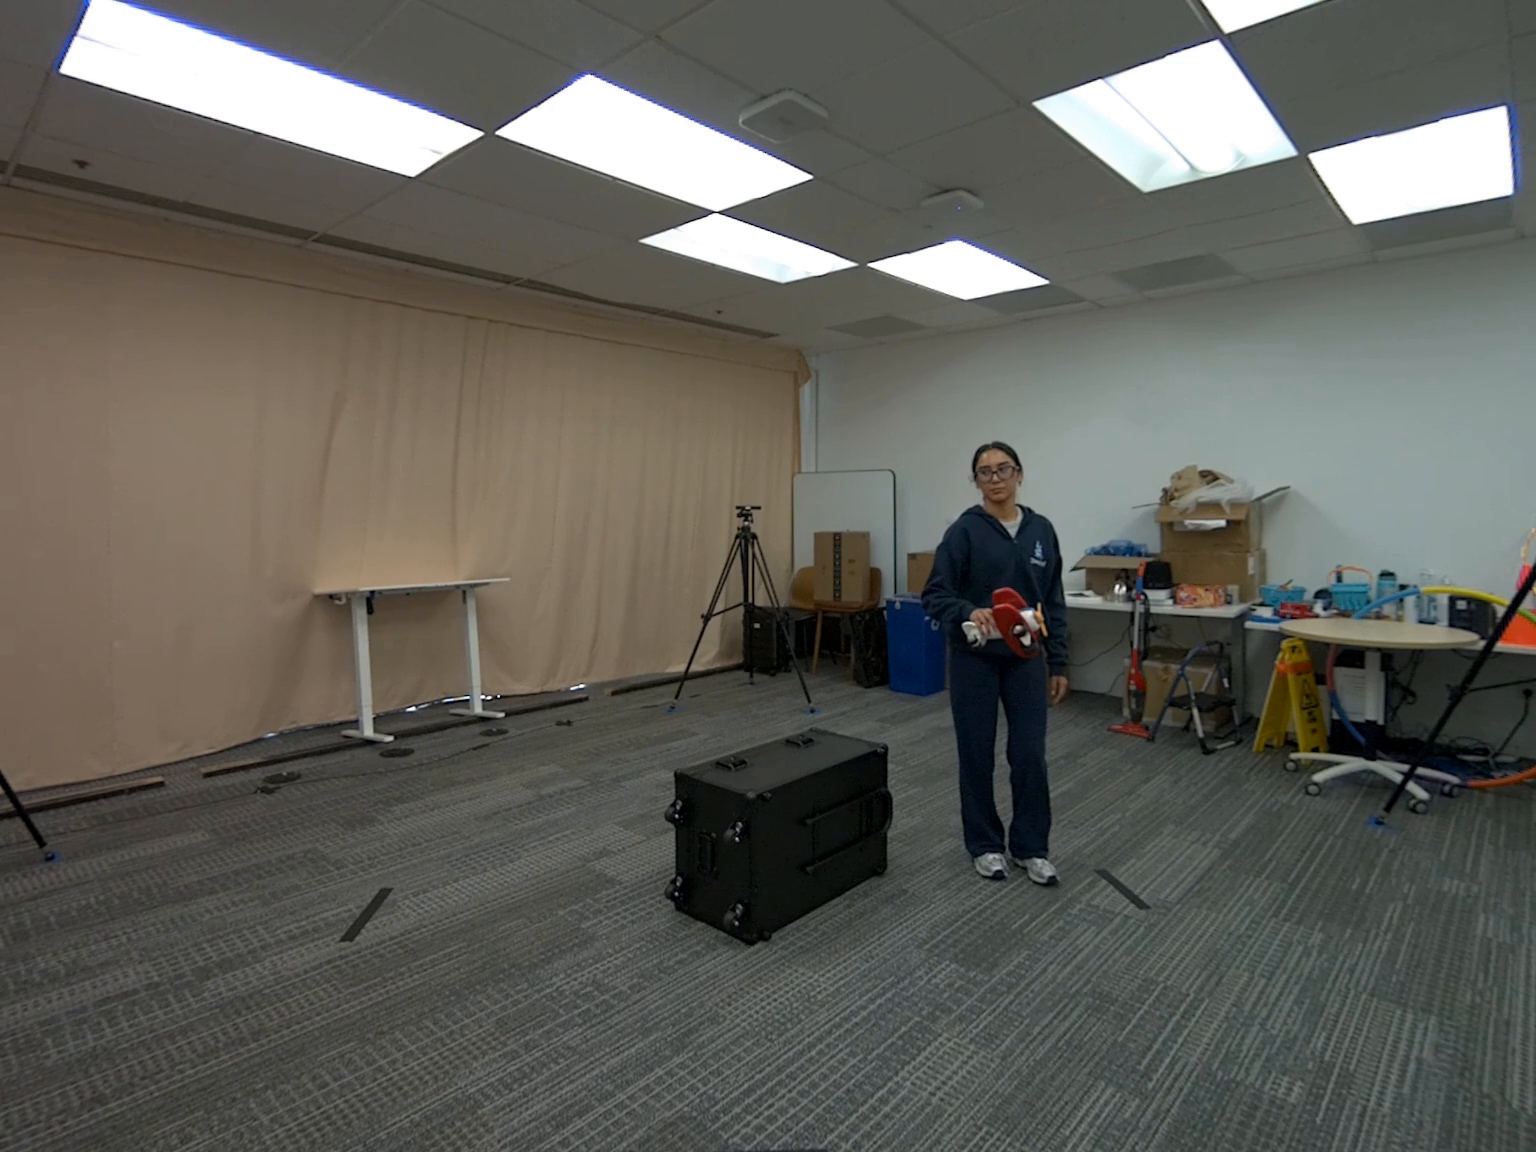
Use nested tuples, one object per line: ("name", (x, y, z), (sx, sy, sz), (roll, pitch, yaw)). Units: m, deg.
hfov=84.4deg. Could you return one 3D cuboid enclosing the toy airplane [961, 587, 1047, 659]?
("toy airplane", (0.803, 0.152, 2.864), (0.266, 0.245, 0.156), (14, 51, 24))
